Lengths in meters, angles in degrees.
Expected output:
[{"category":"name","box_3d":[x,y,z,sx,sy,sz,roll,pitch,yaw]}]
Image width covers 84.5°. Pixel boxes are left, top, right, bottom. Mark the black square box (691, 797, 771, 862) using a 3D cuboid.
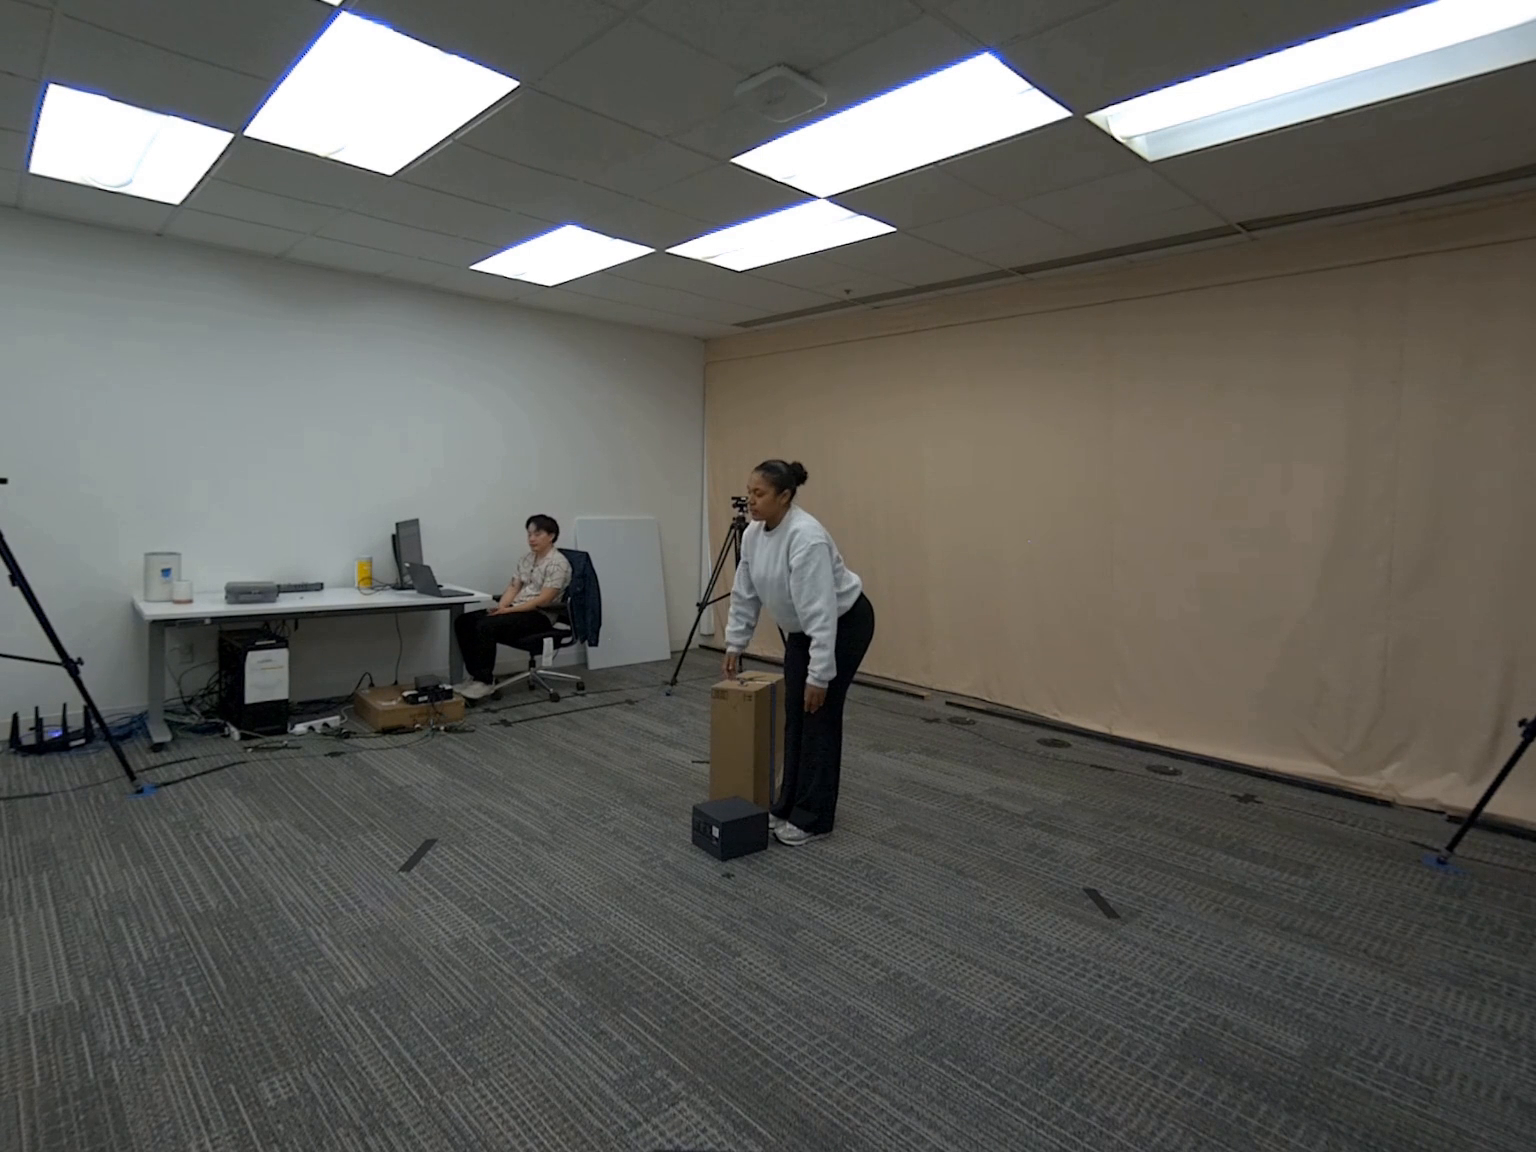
[{"category":"black square box","box_3d":[-0.164,1.003,3.362,0.223,0.155,0.222,-2,5,-37]}]
